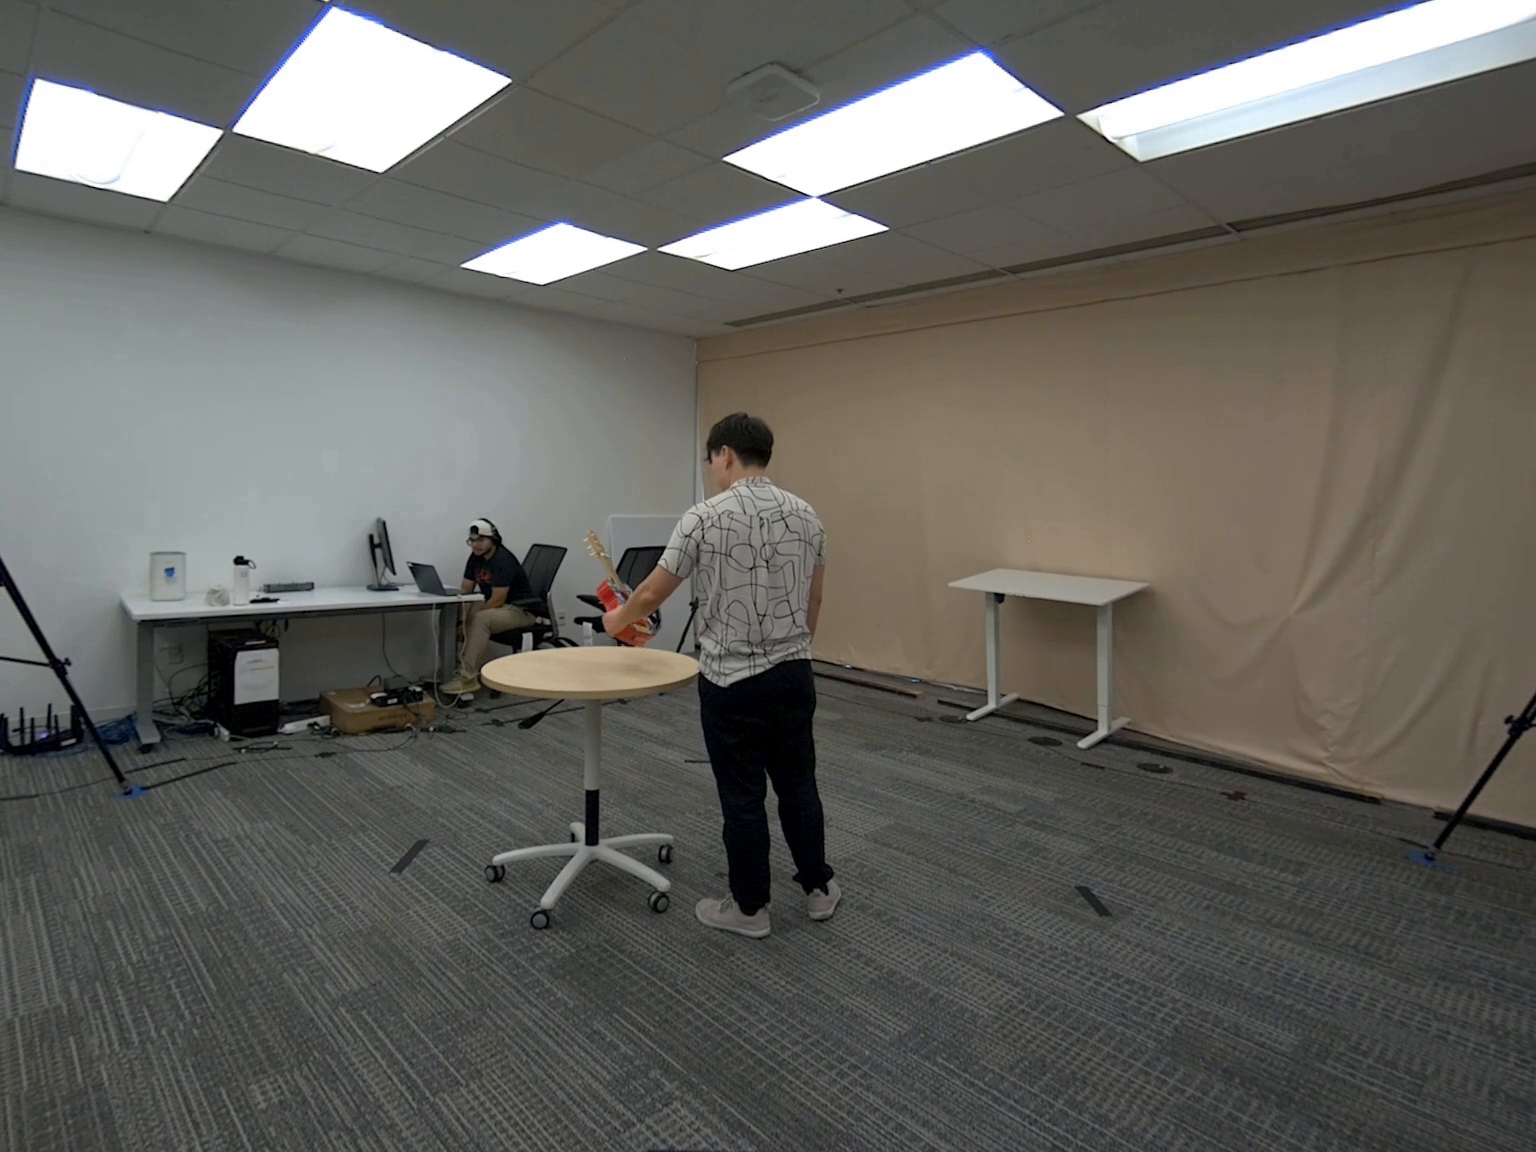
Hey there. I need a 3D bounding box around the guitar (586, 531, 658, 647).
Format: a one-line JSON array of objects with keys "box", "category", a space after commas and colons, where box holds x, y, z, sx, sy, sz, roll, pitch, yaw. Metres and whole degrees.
[{"box": [-0.557, 0.045, 3.069, 0.187, 0.071, 0.513, 32, 23, -49], "category": "guitar"}]
